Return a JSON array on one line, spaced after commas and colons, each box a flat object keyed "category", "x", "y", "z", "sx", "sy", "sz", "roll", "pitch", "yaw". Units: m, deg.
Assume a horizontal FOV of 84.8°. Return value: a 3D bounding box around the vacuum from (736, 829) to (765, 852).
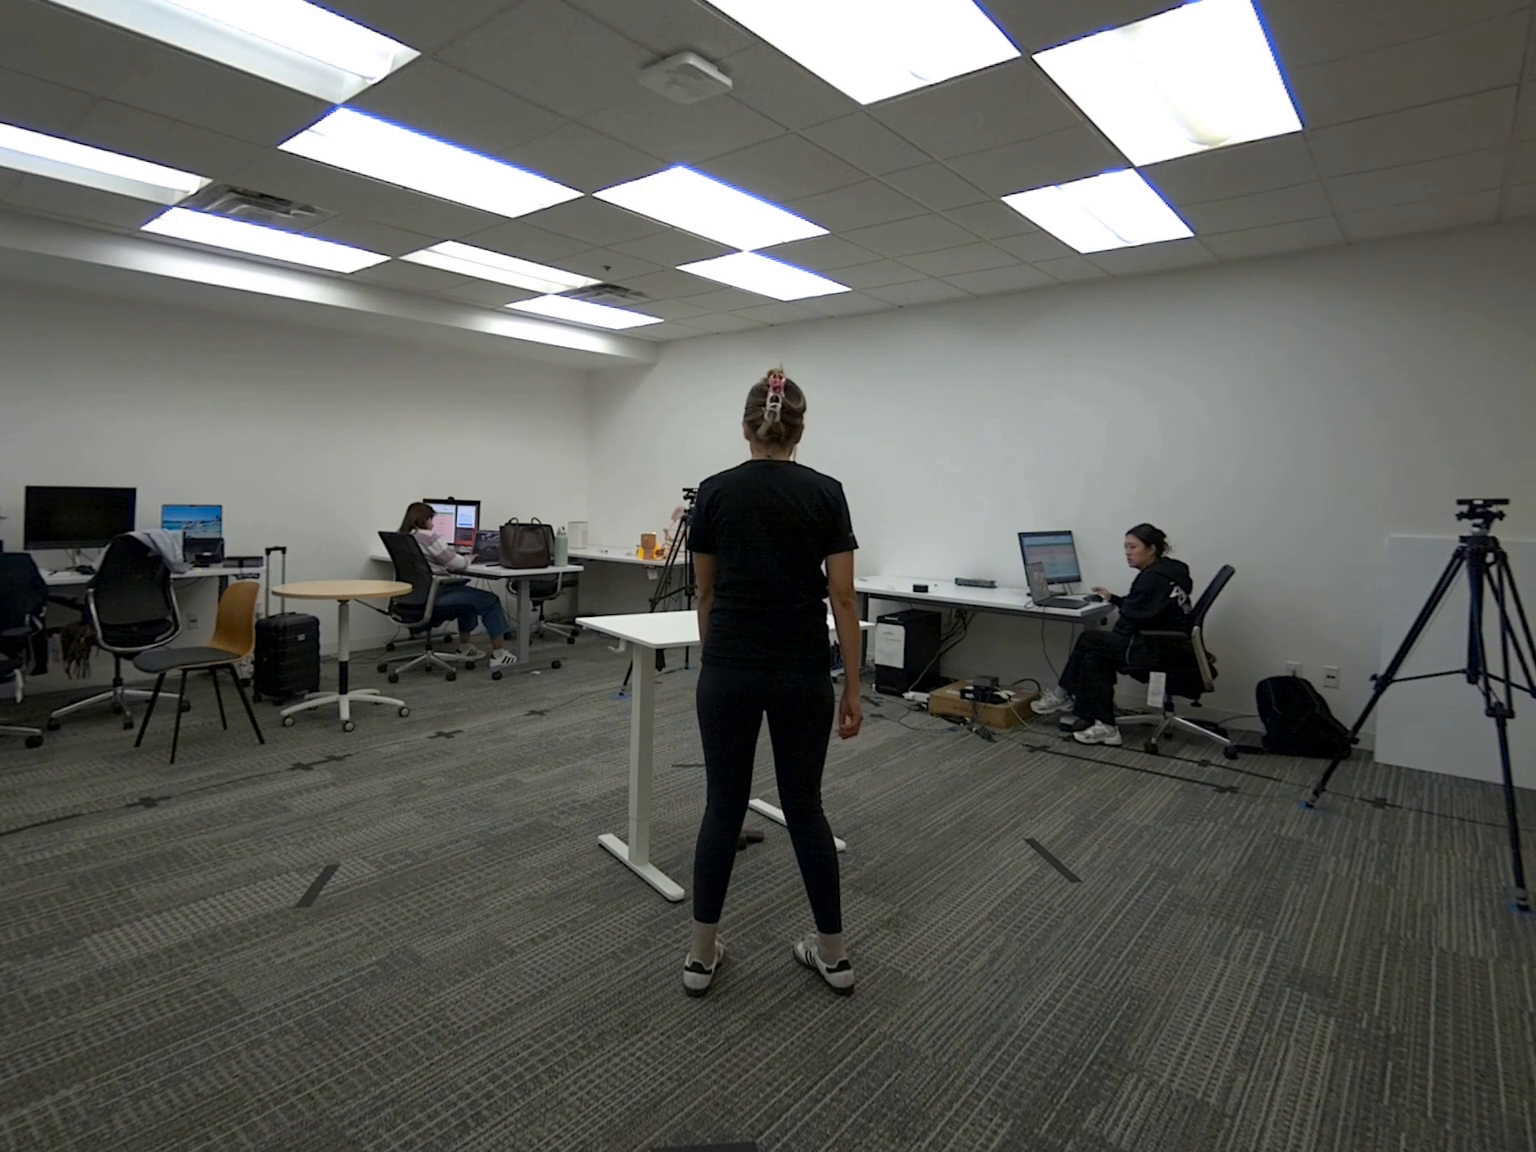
[{"category": "vacuum", "x": -0.173, "y": 0.686, "z": 2.993, "sx": 0.252, "sy": 1.017, "sz": 0.148, "roll": -3, "pitch": 47, "yaw": -1}]
